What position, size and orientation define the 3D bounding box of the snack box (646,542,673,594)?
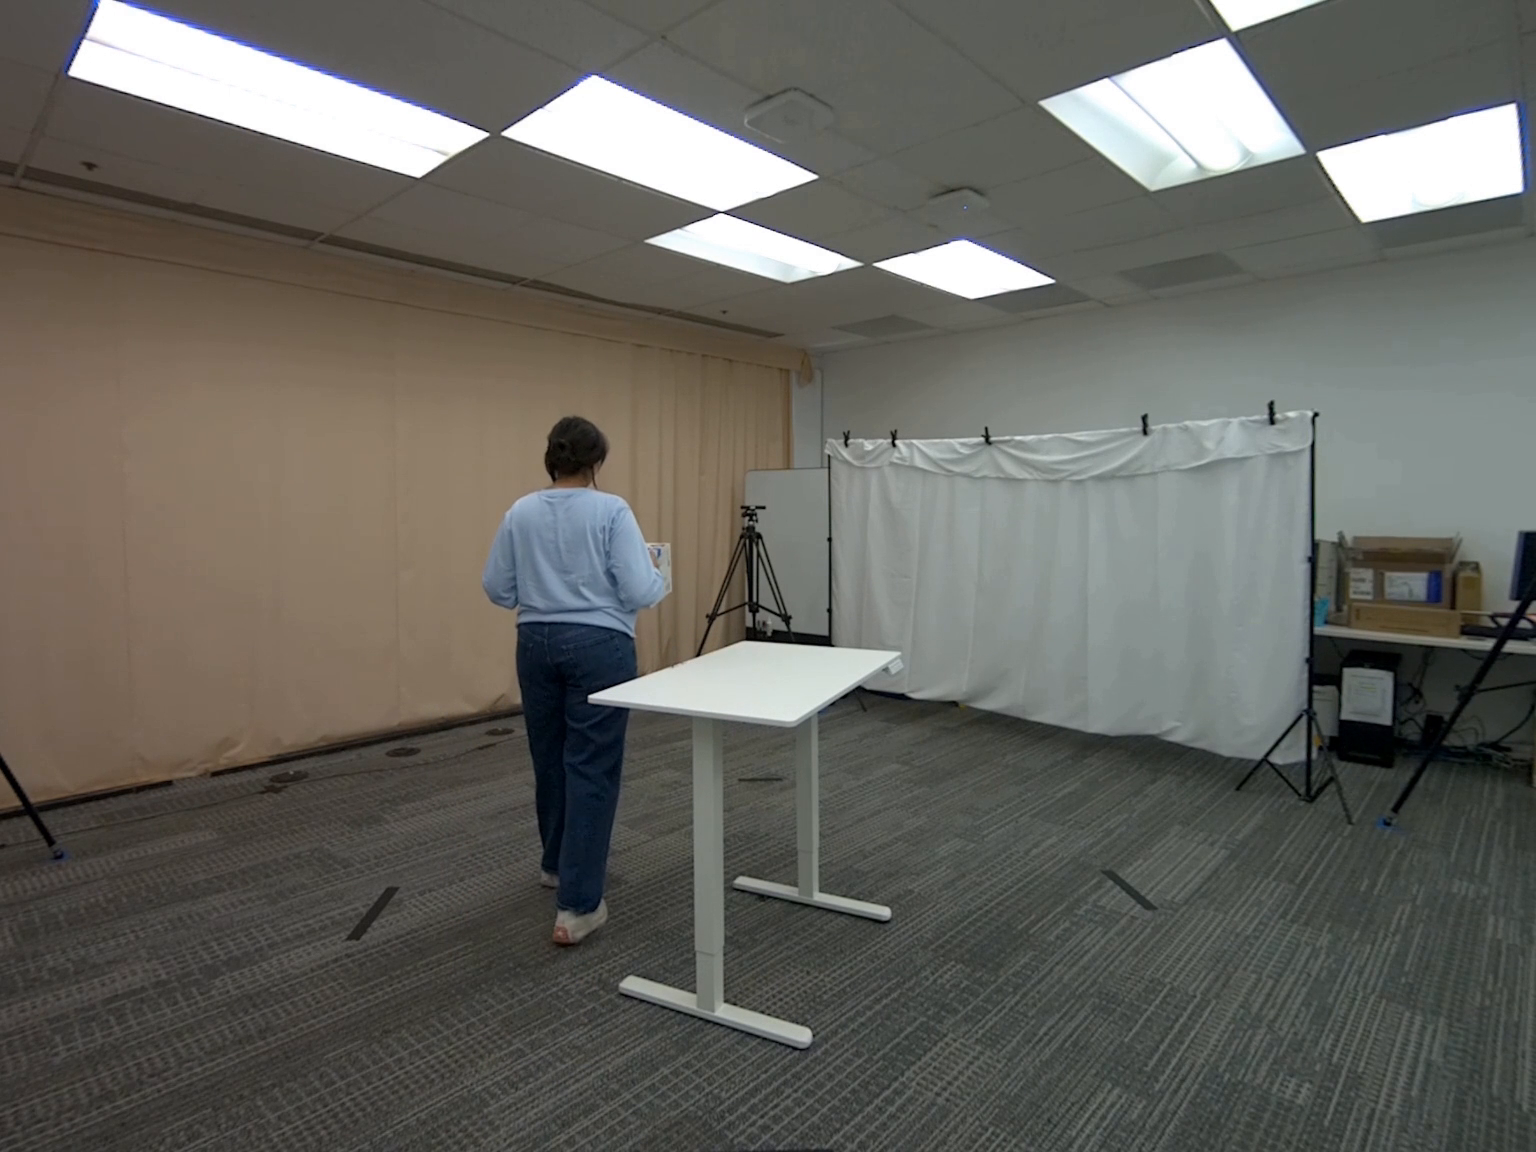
[{"bbox_3d":[-0.613,-0.009,3.255,0.410,0.204,0.338,1,9,10],"label":"snack box"}]
